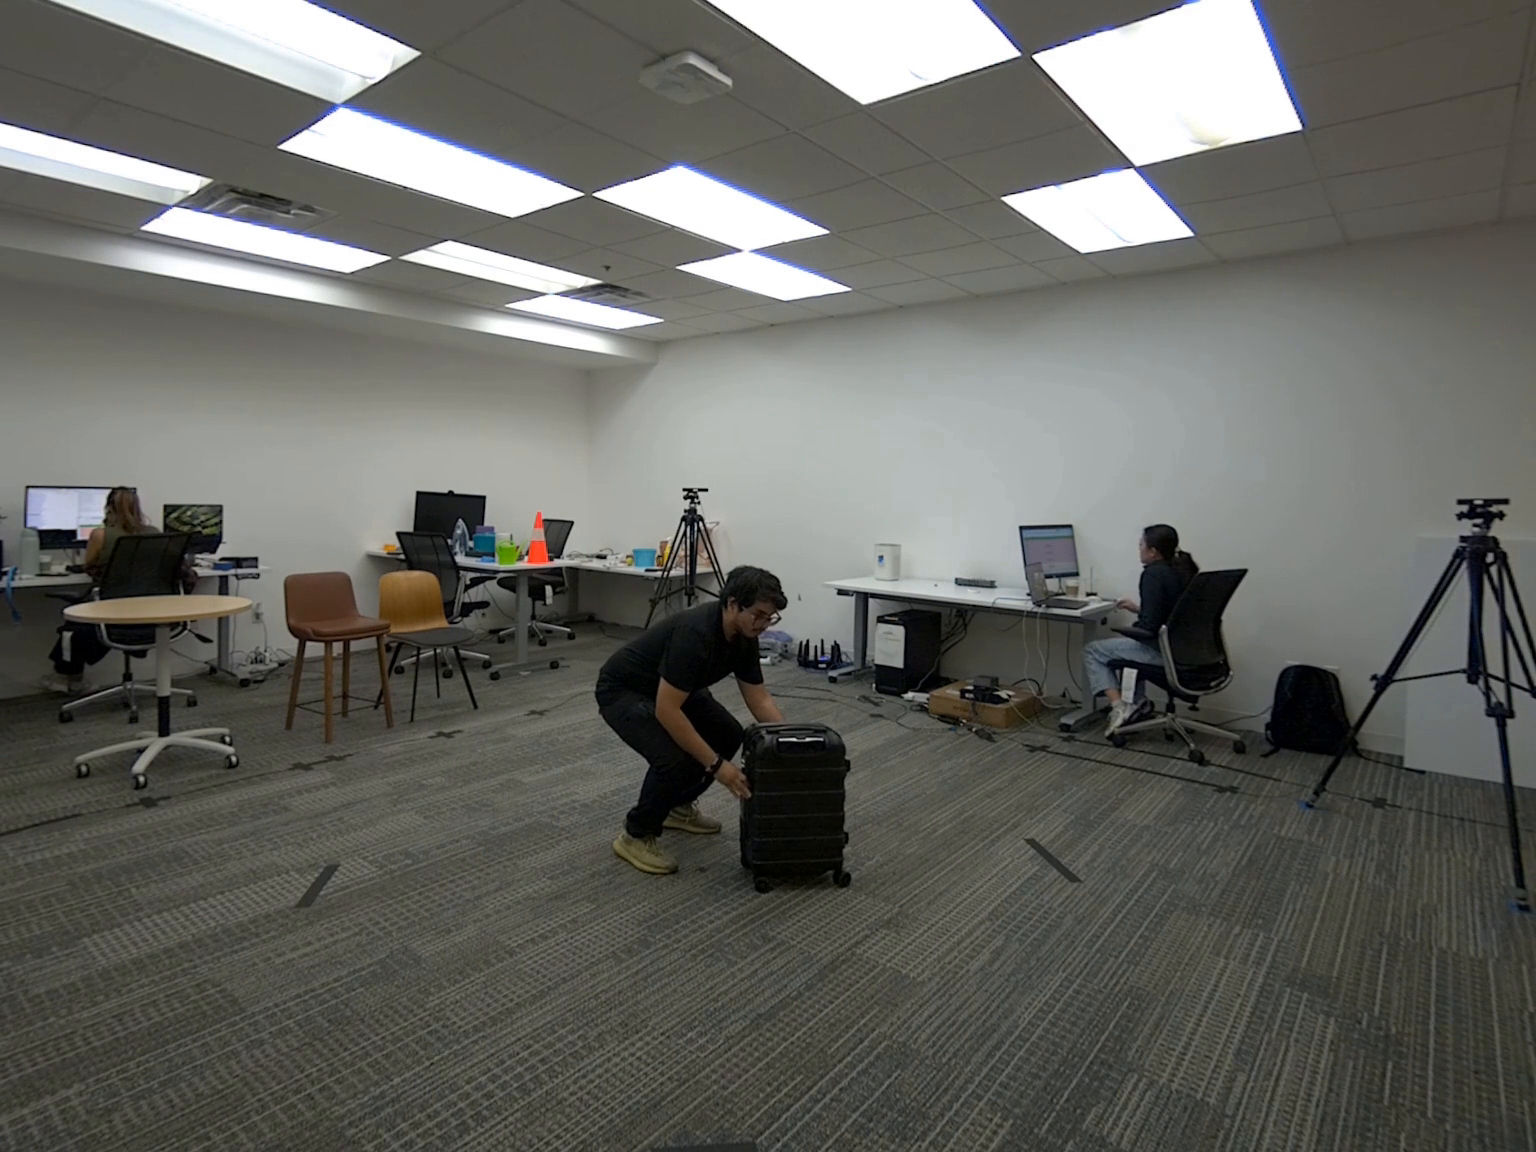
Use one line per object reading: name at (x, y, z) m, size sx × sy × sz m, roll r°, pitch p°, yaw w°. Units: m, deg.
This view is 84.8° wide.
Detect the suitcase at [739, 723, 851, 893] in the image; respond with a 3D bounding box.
suitcase at (0.084, 0.806, 3.057) m, size 0.372 × 0.547 × 0.252 m, roll 1°, pitch 4°, yaw -9°
